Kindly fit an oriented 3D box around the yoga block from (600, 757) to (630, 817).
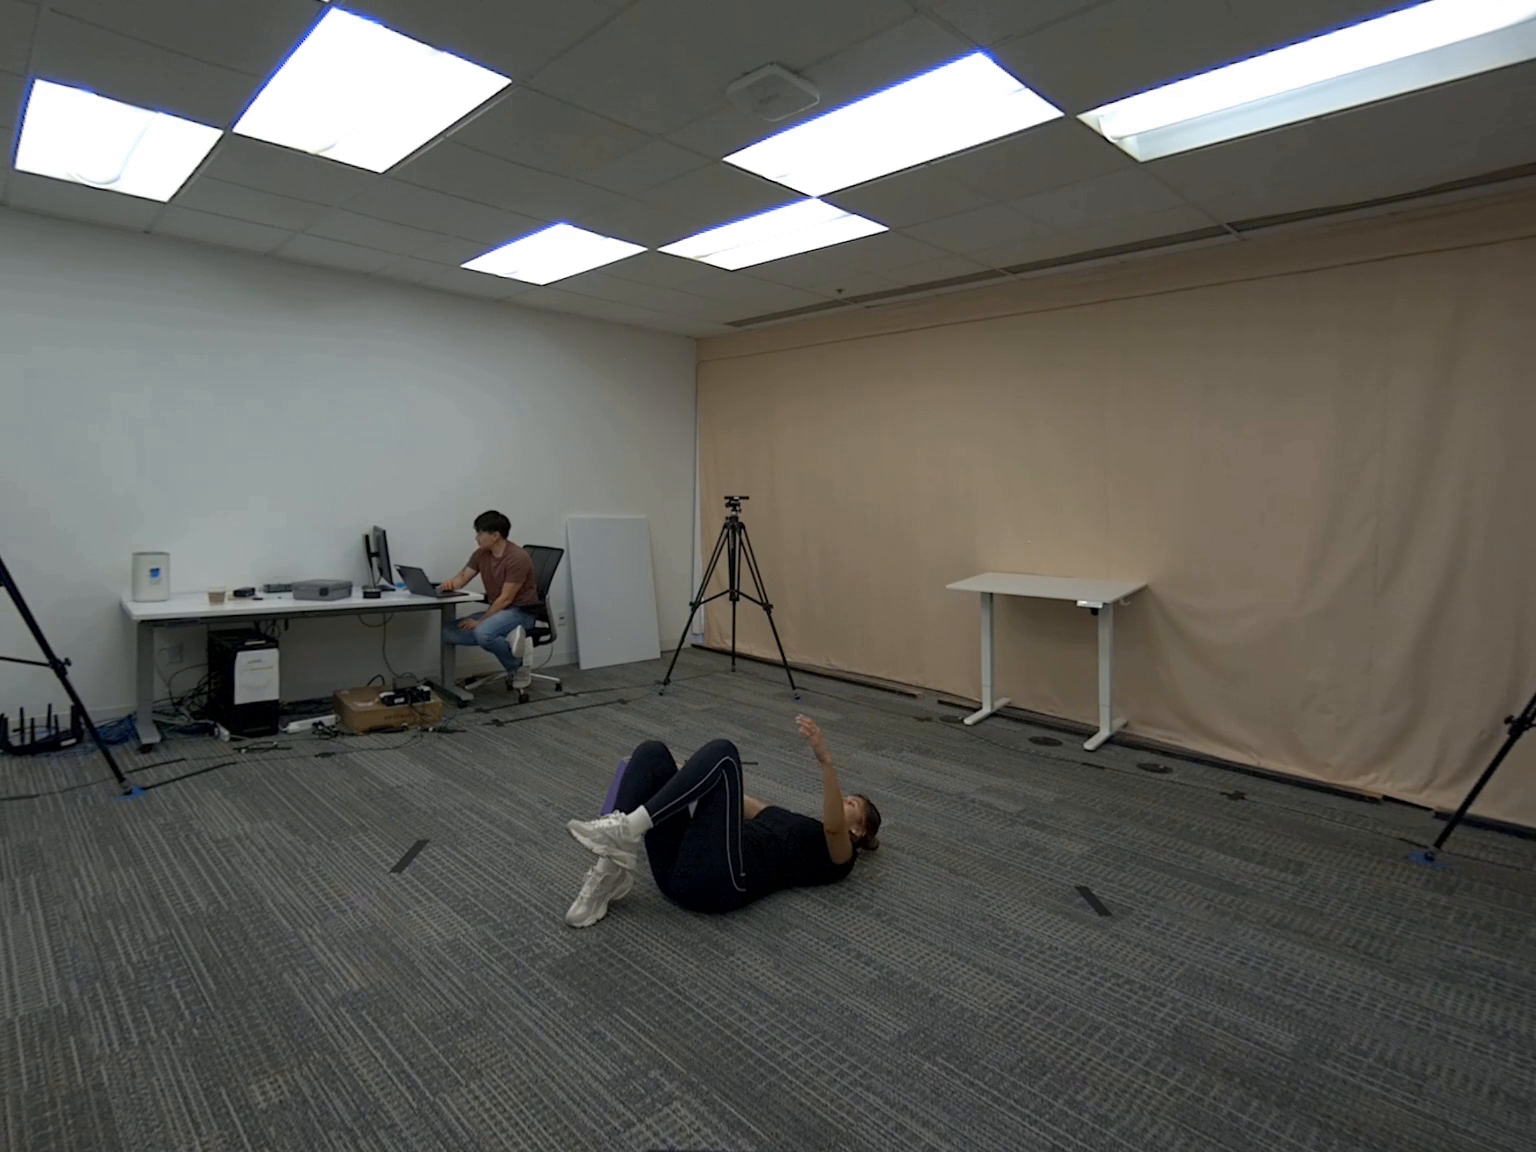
[{"bbox_3d":[-0.557,0.851,3.340,0.078,0.231,0.144,7,-16,37],"label":"yoga block"}]
